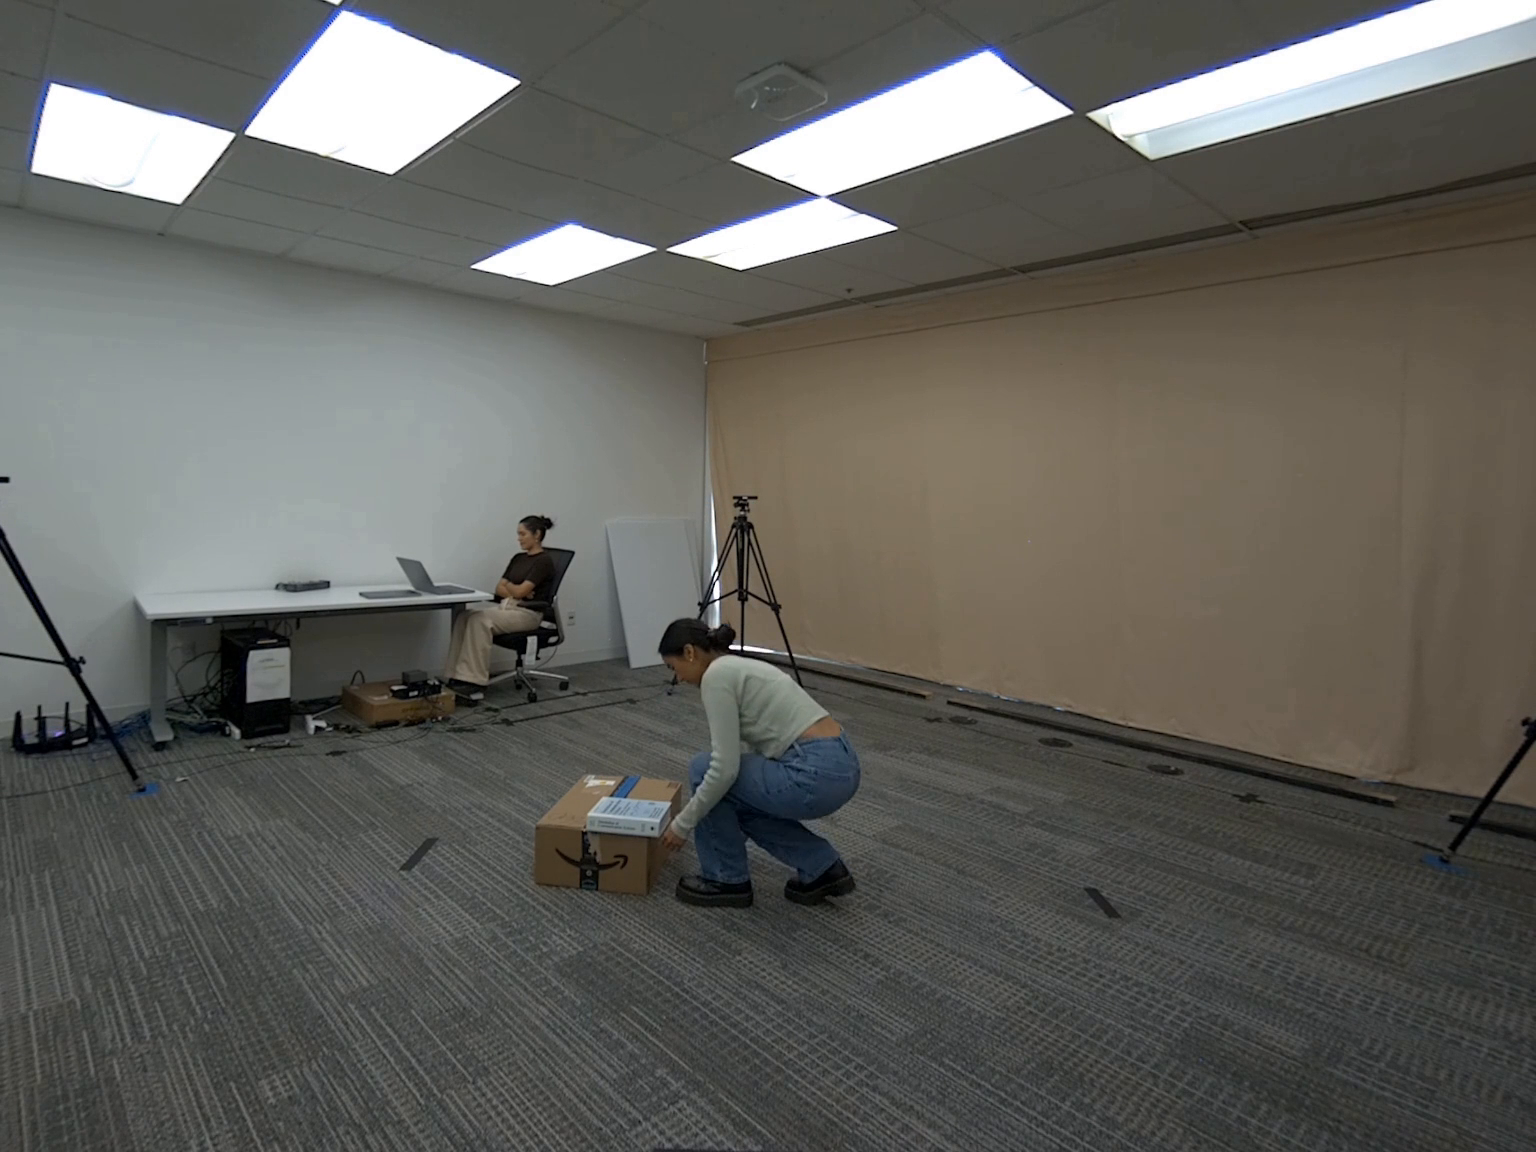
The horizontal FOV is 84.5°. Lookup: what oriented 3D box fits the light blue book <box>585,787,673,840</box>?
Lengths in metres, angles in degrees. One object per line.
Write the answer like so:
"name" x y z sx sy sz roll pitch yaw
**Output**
"light blue book" -0.493 0.852 3.012 0.263 0.059 0.190 2 4 7
